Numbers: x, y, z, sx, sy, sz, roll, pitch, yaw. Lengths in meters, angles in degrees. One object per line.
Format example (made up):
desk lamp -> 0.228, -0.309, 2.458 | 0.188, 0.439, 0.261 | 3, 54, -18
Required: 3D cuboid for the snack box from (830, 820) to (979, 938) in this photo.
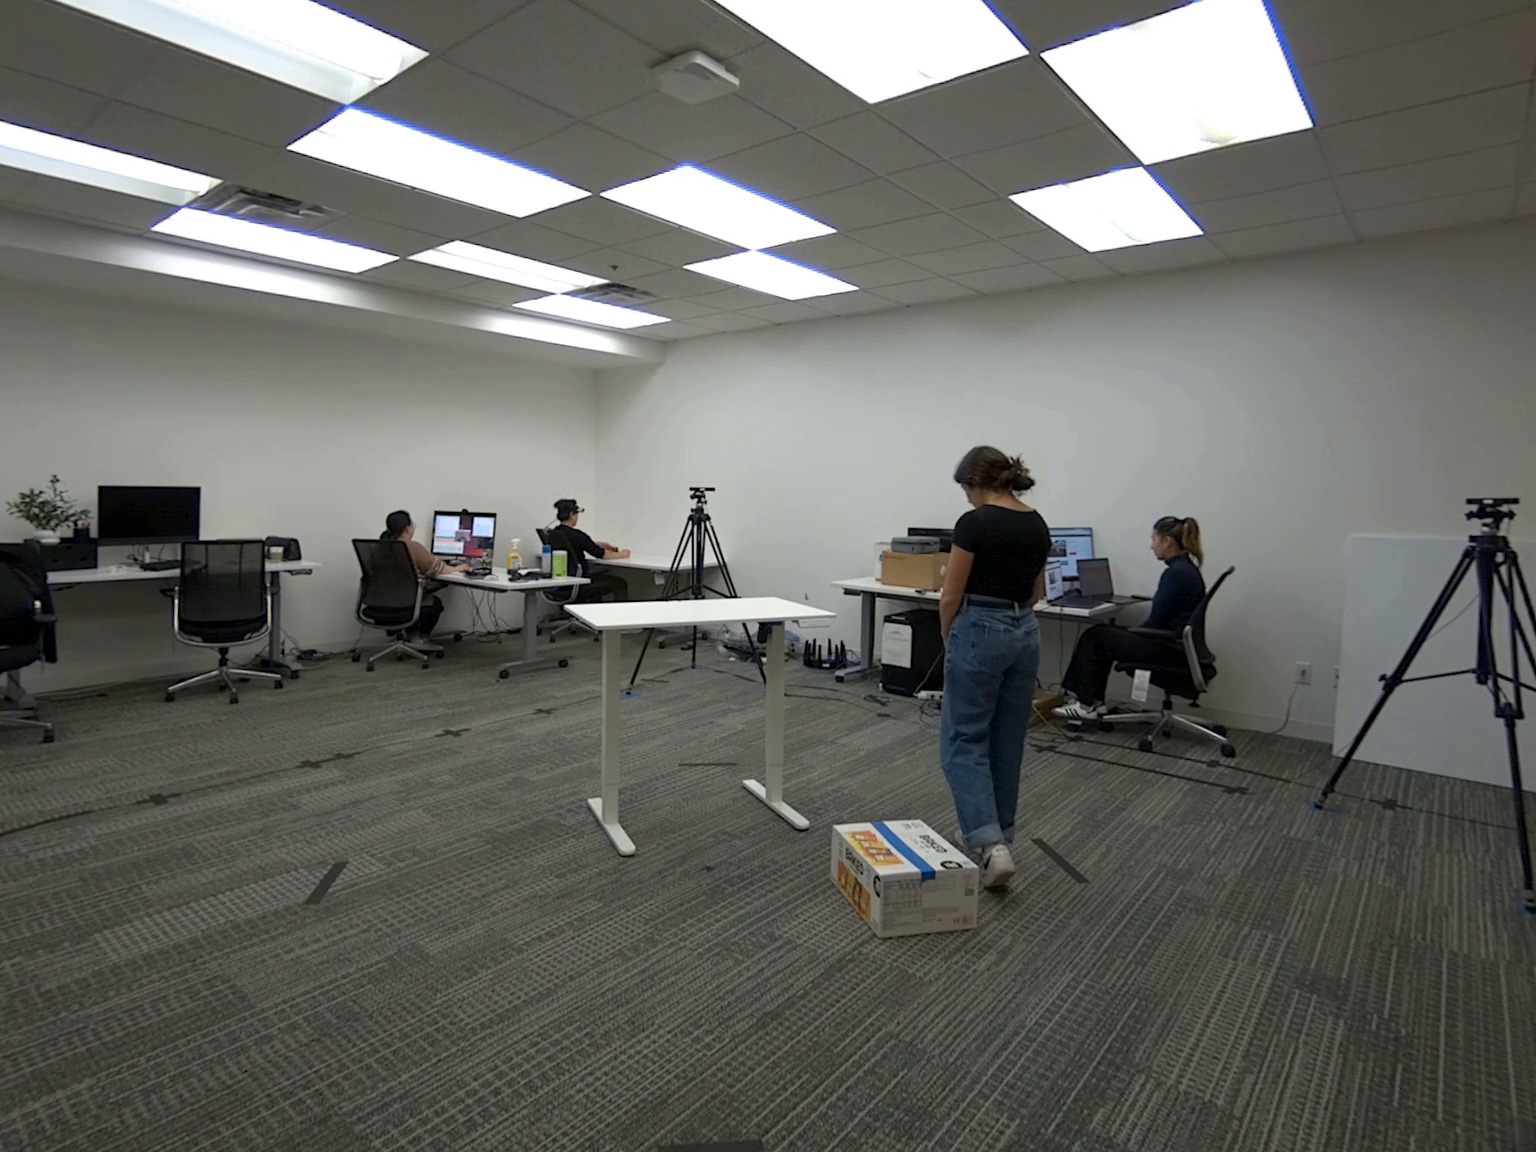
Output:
snack box -> 0.445, 1.004, 2.867 | 0.335, 0.205, 0.413 | 0, 6, -16
